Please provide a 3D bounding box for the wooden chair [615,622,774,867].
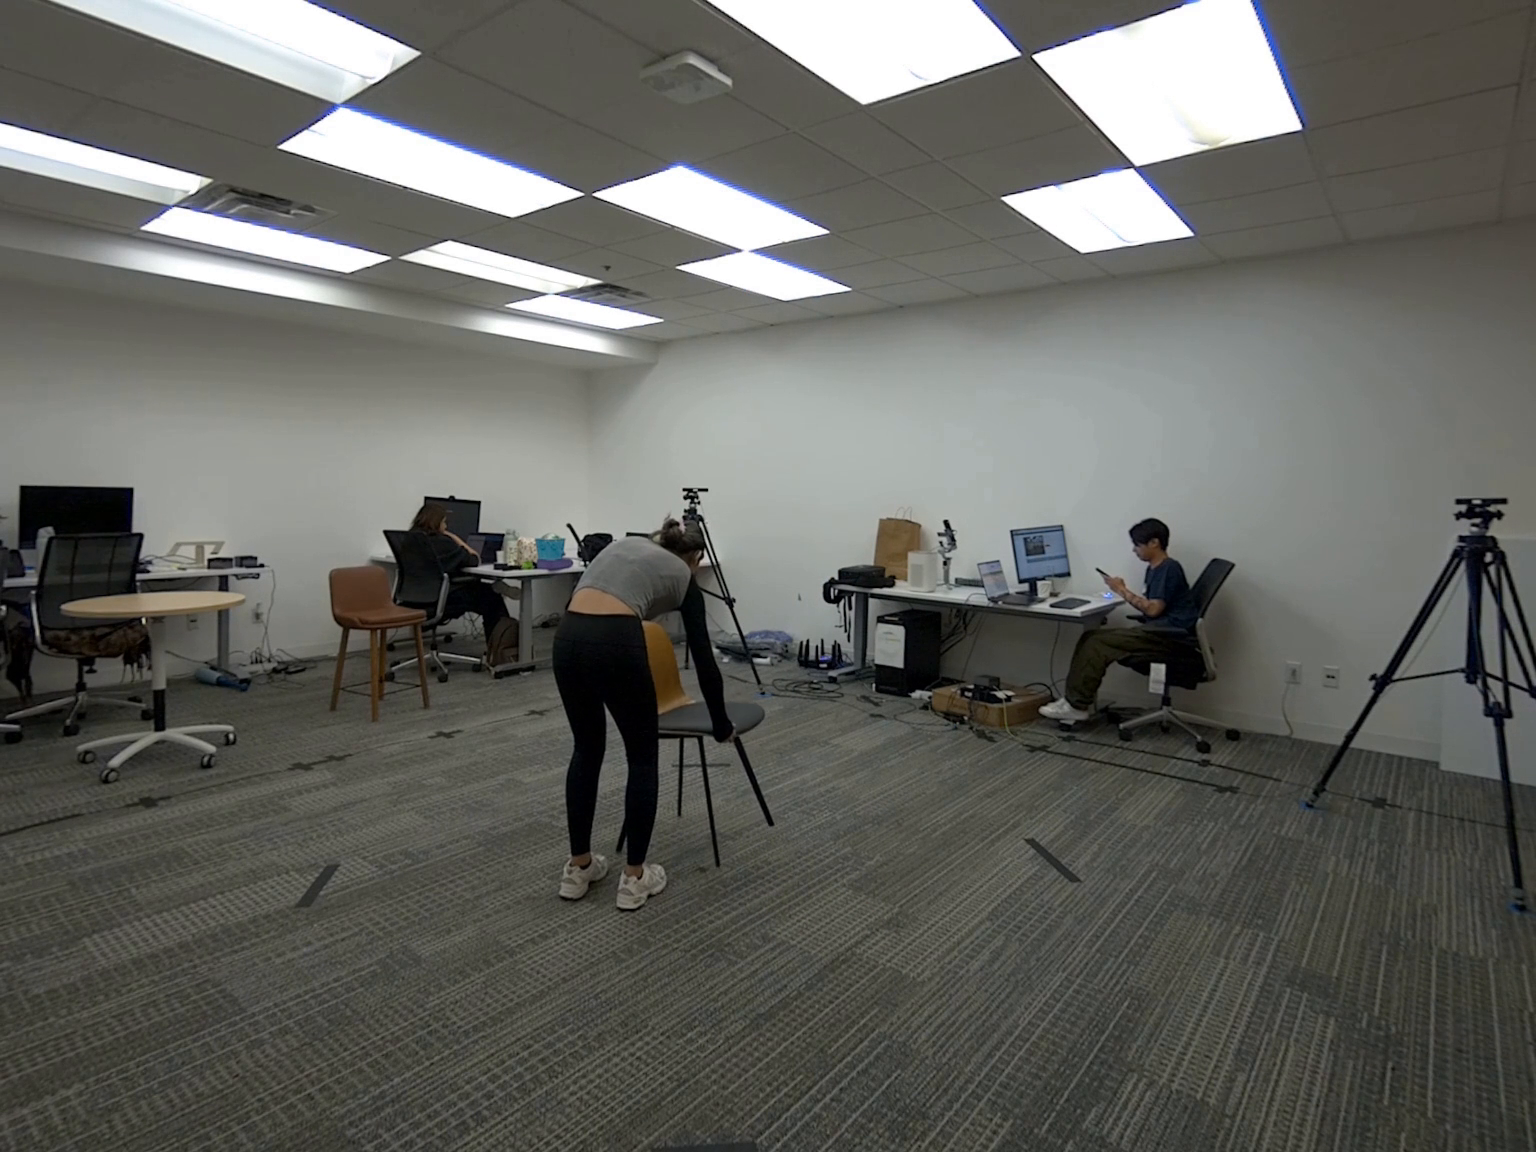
[{"bbox_3d":[-0.309,0.598,3.322,0.535,0.880,0.466,-9,-2,28],"label":"wooden chair"}]
